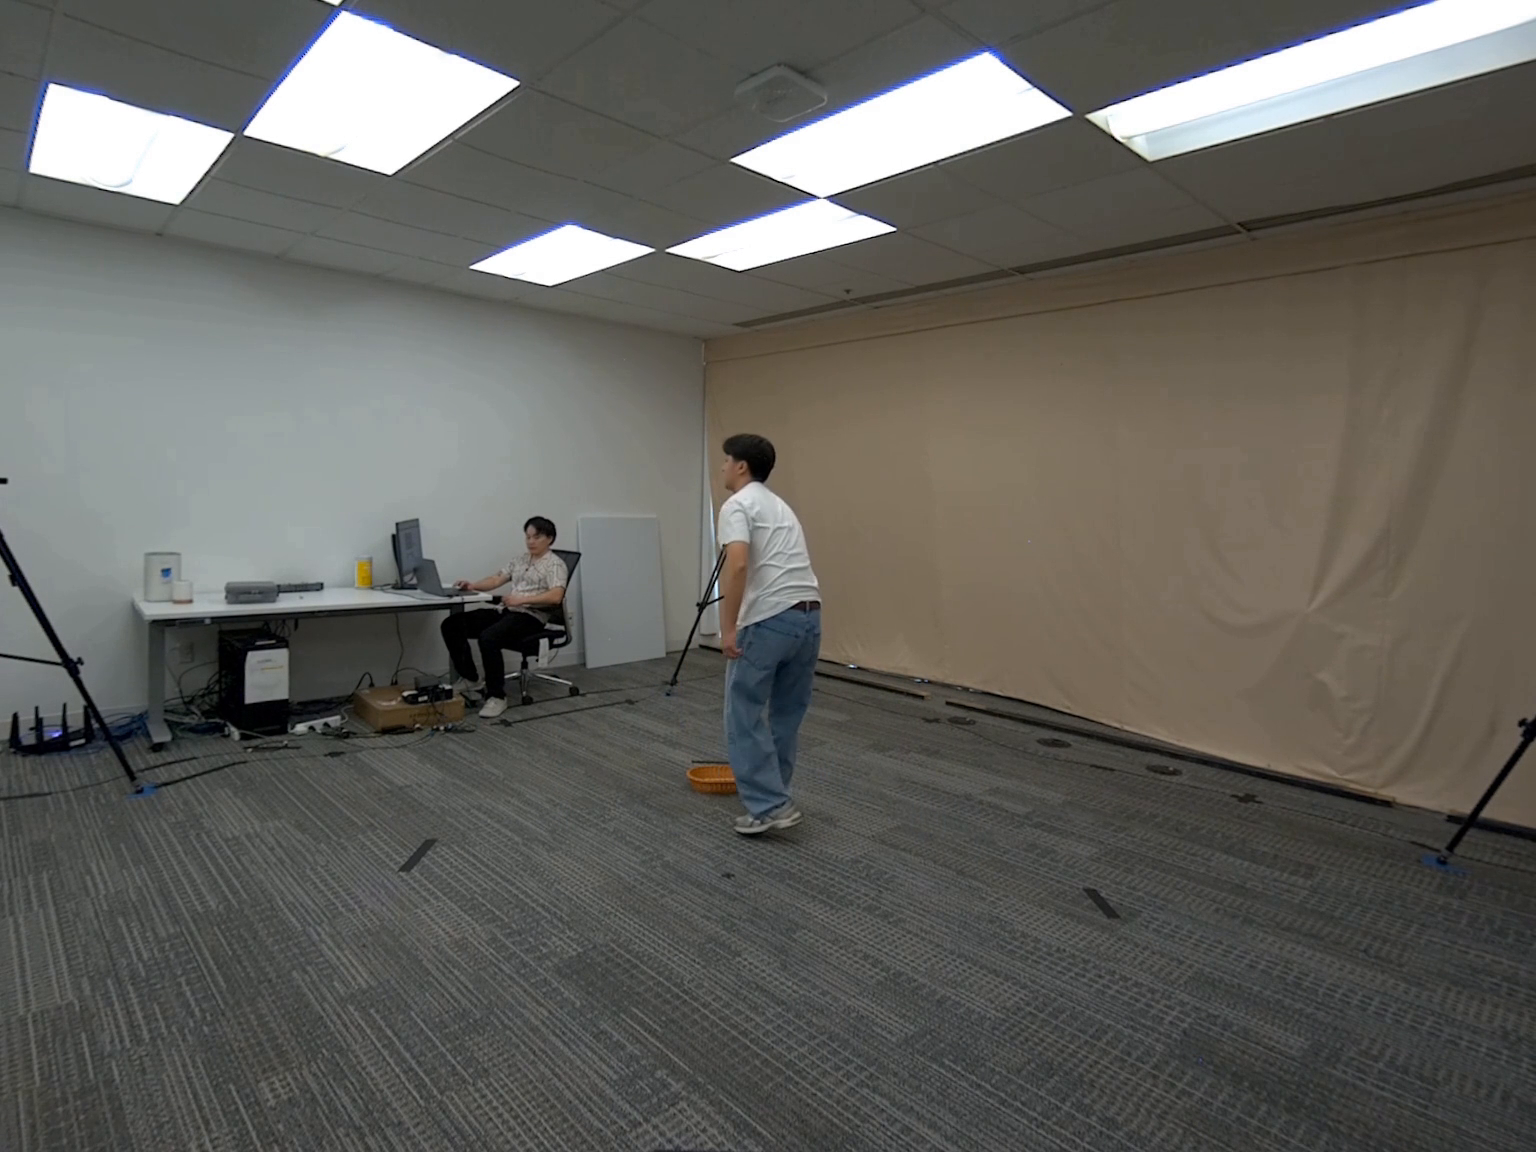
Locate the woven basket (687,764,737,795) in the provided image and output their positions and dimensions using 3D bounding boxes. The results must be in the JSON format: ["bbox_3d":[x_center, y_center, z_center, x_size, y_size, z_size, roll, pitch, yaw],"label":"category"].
[{"bbox_3d":[-0.233,0.984,4.069,0.349,0.073,0.254,1,5,-6],"label":"woven basket"}]
